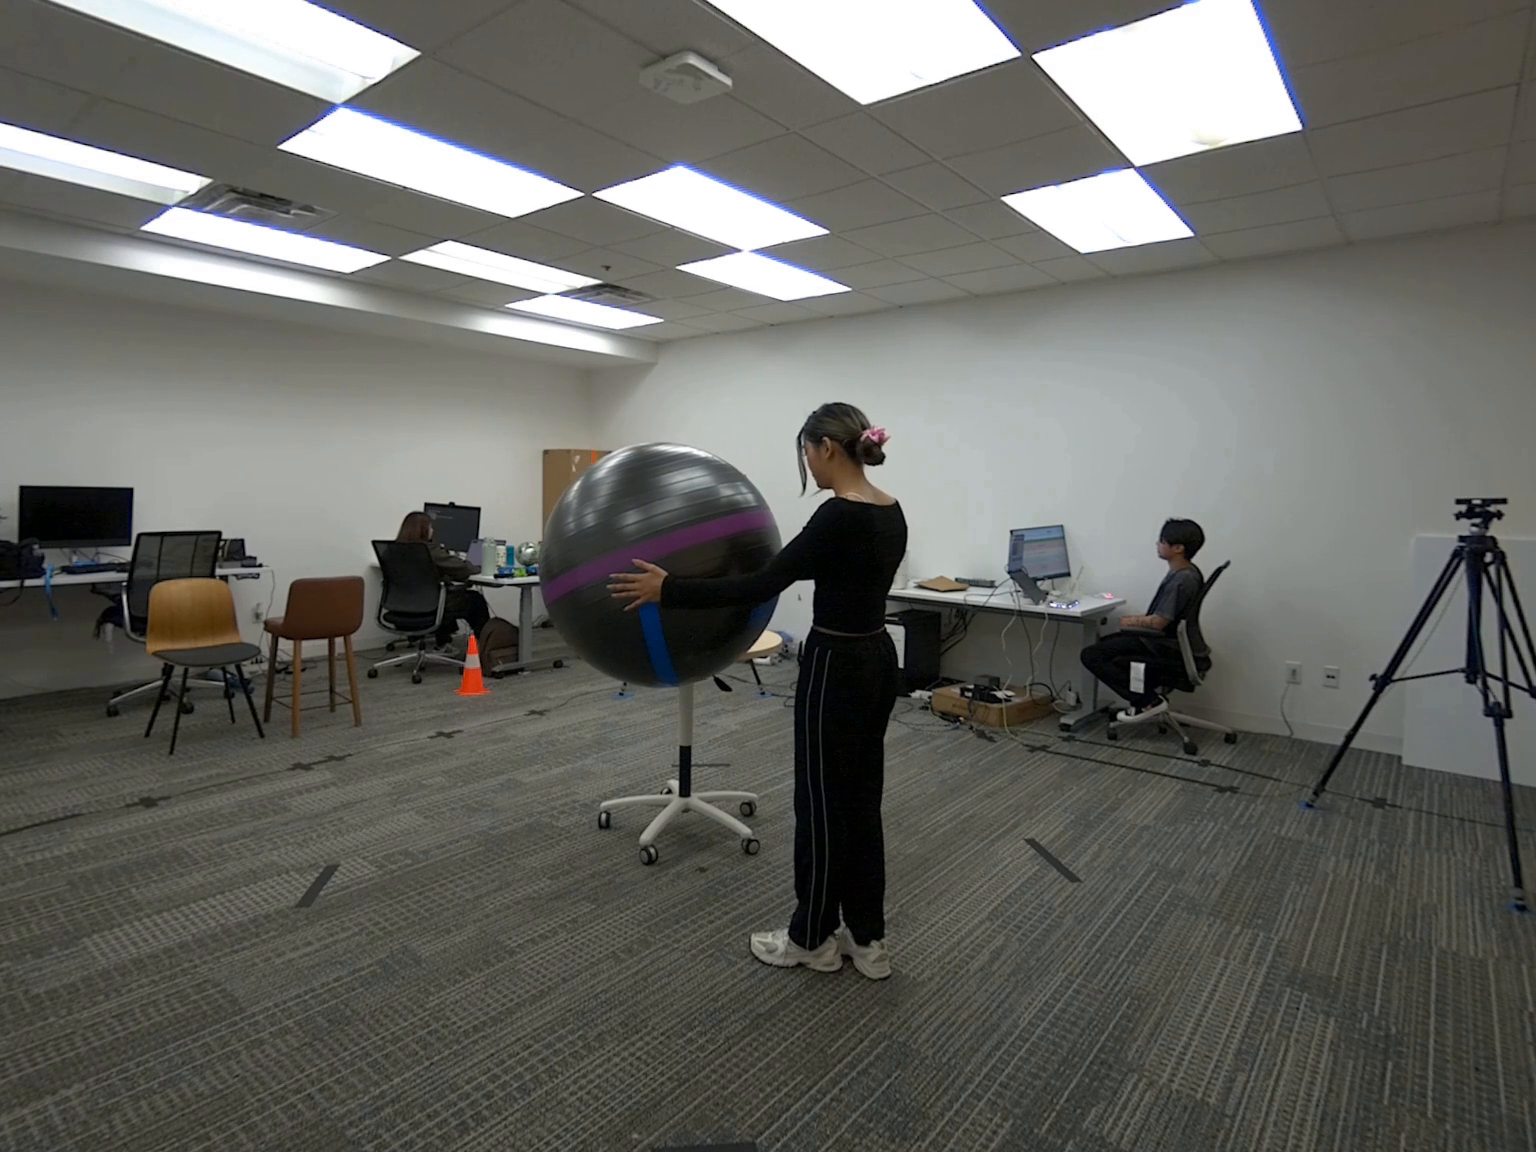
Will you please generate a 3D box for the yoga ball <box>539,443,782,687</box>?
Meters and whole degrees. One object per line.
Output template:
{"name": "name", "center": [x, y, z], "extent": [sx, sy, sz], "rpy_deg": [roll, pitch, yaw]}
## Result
{"name": "yoga ball", "center": [-0.348, -0.029, 2.653], "extent": [0.757, 0.756, 0.762], "rpy_deg": [1, 4, -2]}
